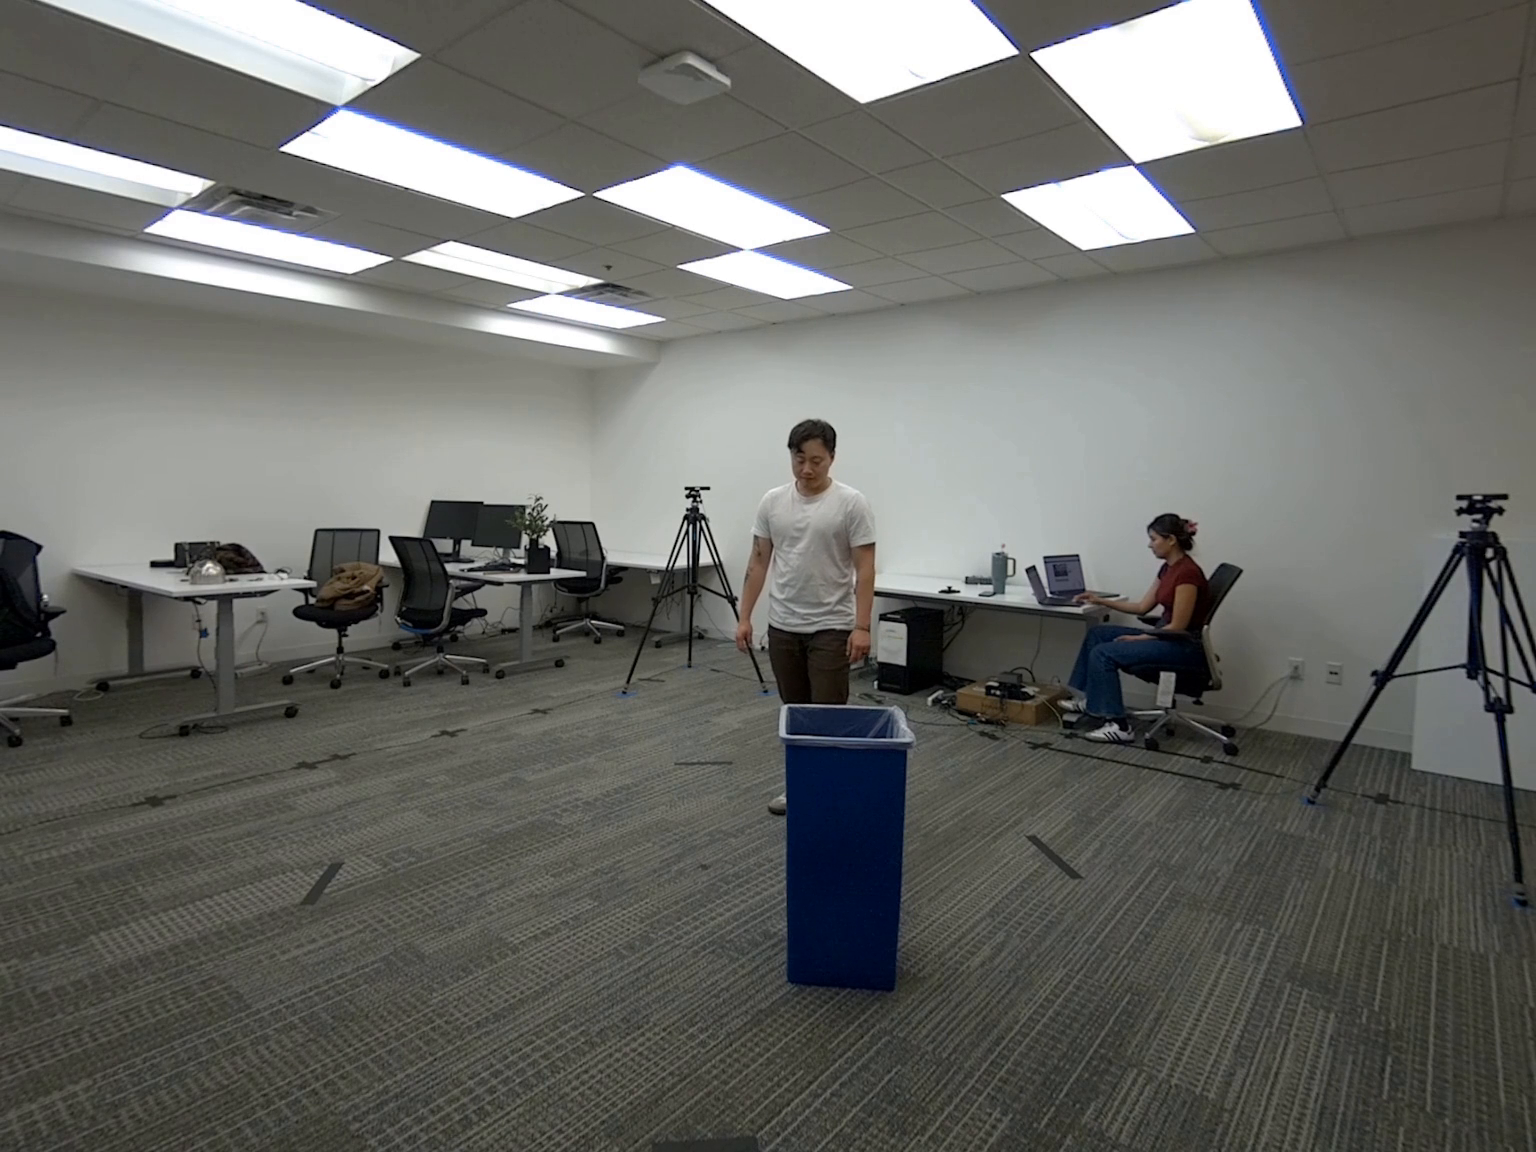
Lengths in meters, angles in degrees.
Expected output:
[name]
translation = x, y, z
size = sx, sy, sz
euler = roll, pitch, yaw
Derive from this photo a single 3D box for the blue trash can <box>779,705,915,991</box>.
[blue trash can]
translation = 0.213, 0.776, 2.514
size = 0.380, 0.711, 0.374
euler = 1, 4, 3
